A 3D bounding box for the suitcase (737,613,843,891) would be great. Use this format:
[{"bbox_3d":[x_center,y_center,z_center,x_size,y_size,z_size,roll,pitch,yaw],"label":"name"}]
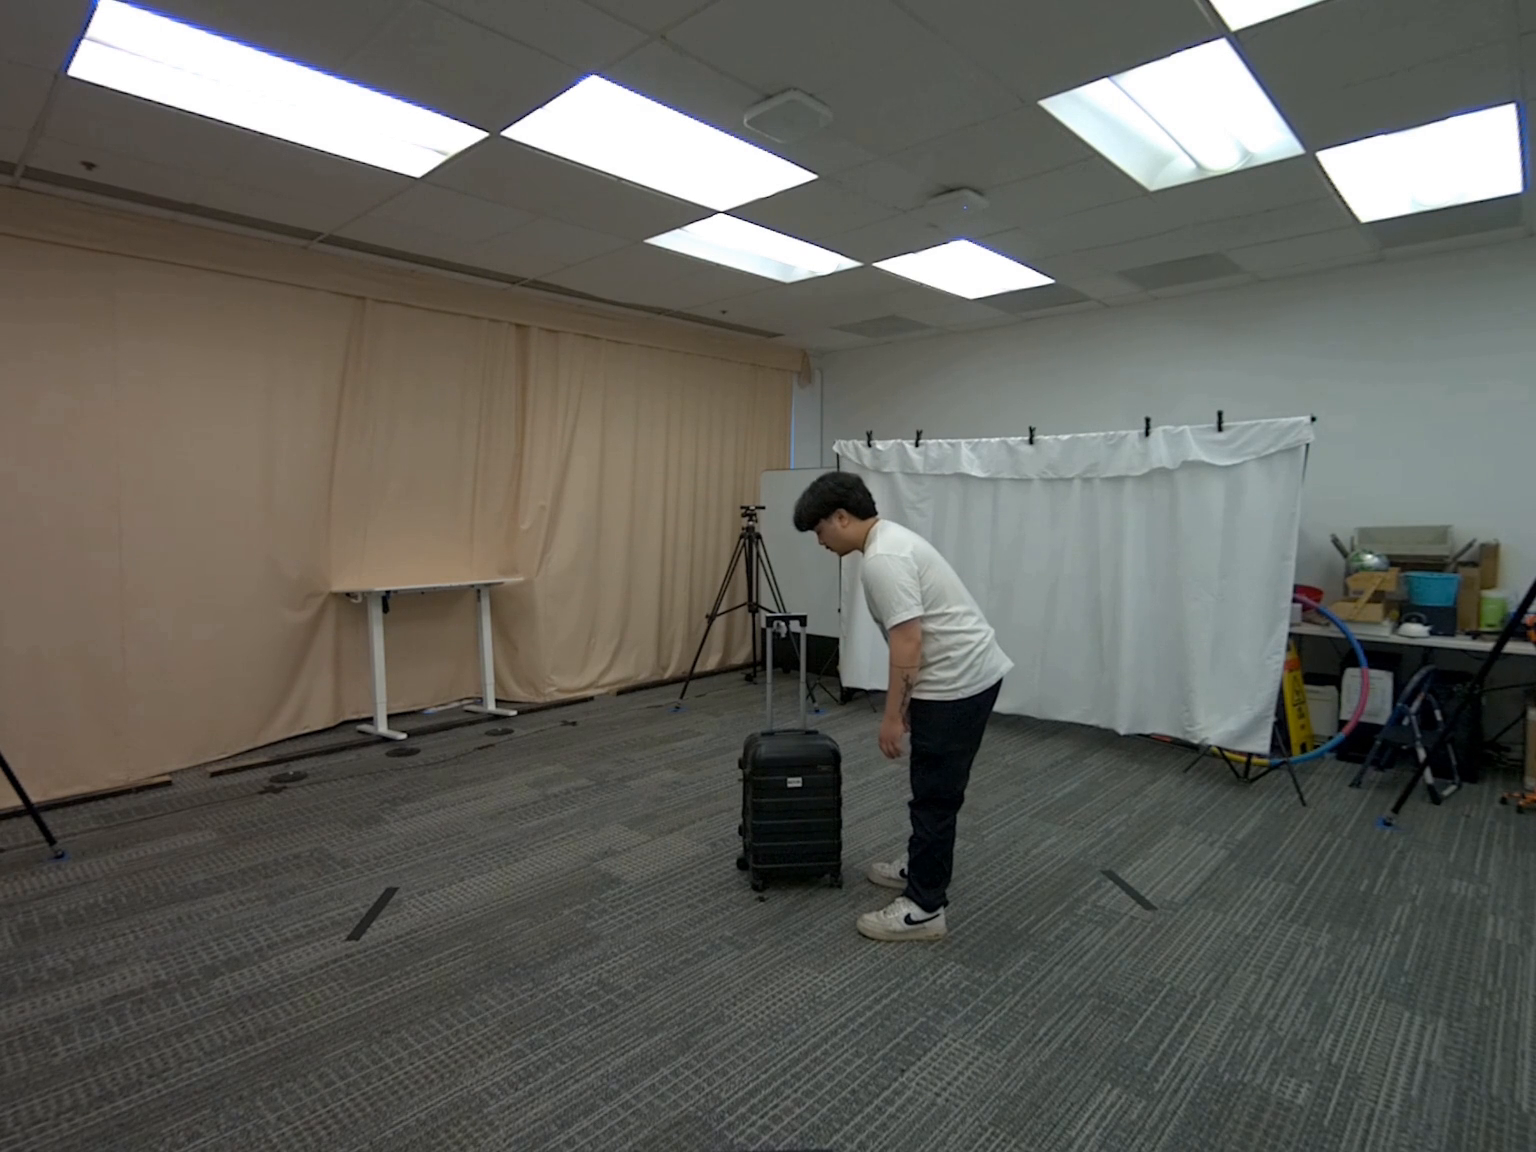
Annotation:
[{"bbox_3d":[0.090,0.655,3.120,0.382,0.975,0.259,0,5,-4],"label":"suitcase"}]
